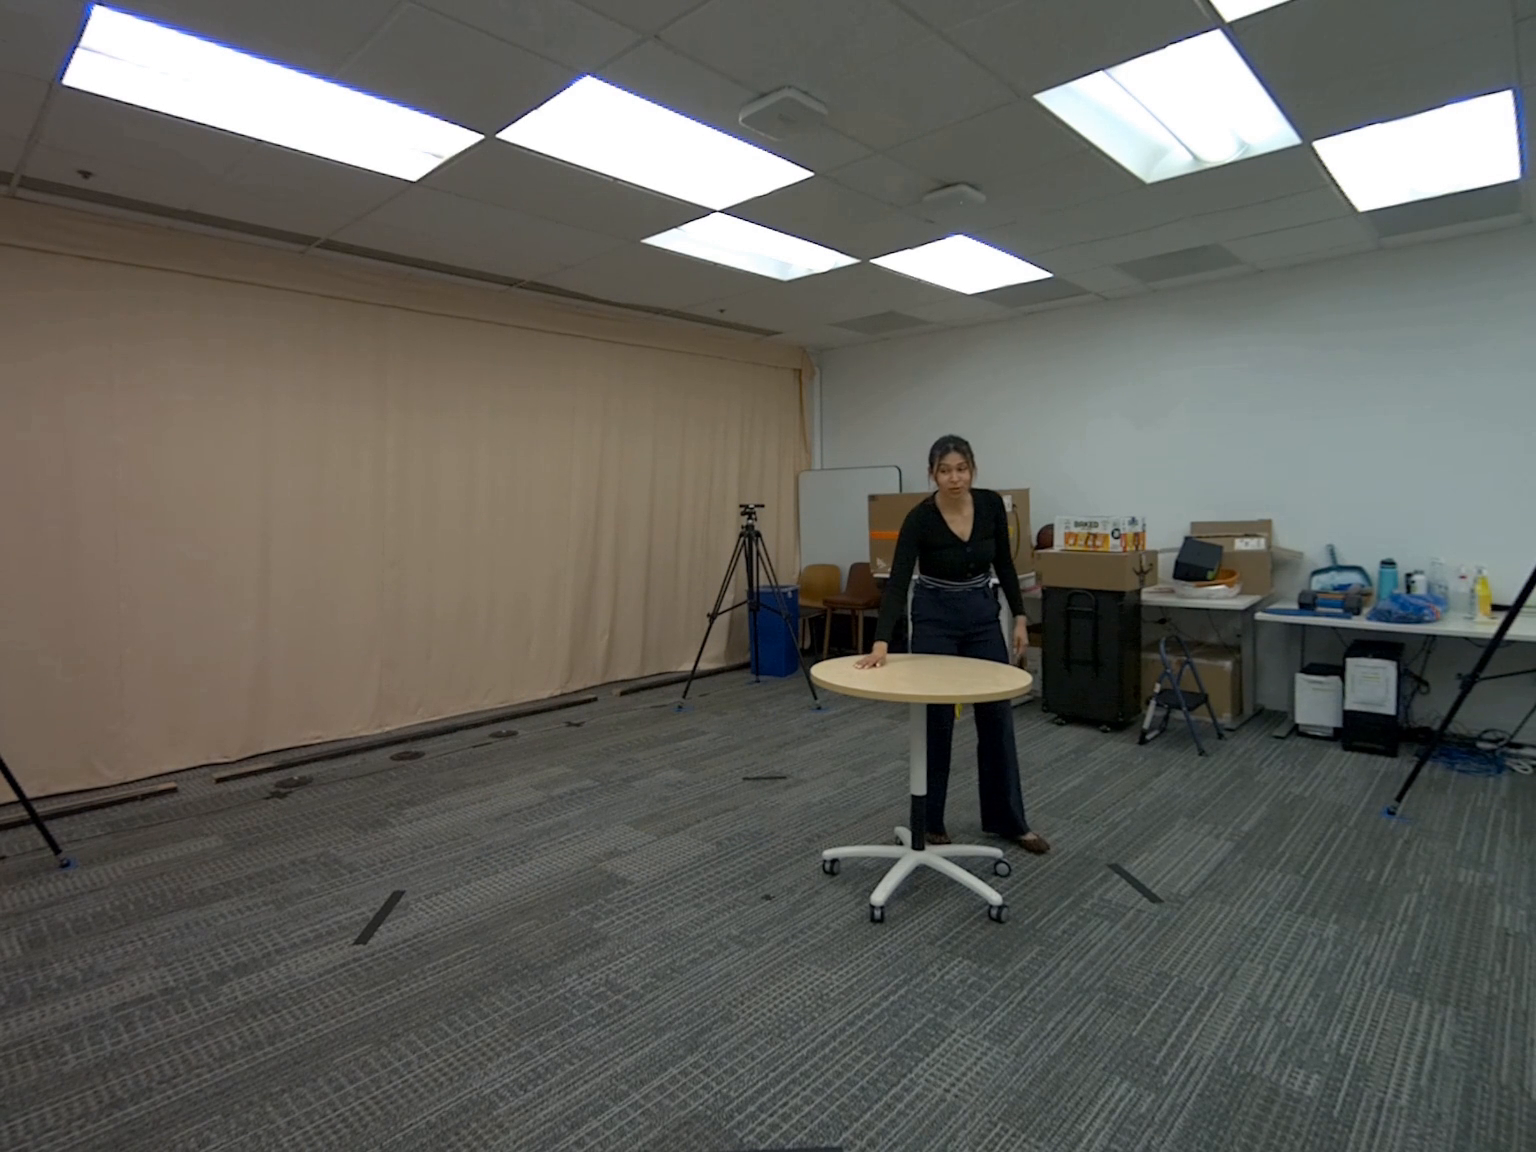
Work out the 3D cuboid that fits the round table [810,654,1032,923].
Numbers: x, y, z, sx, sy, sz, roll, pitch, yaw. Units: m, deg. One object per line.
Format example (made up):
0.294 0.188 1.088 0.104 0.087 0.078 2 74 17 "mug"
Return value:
0.544 0.738 3.025 0.763 0.792 0.766 -1 4 -2 "round table"
